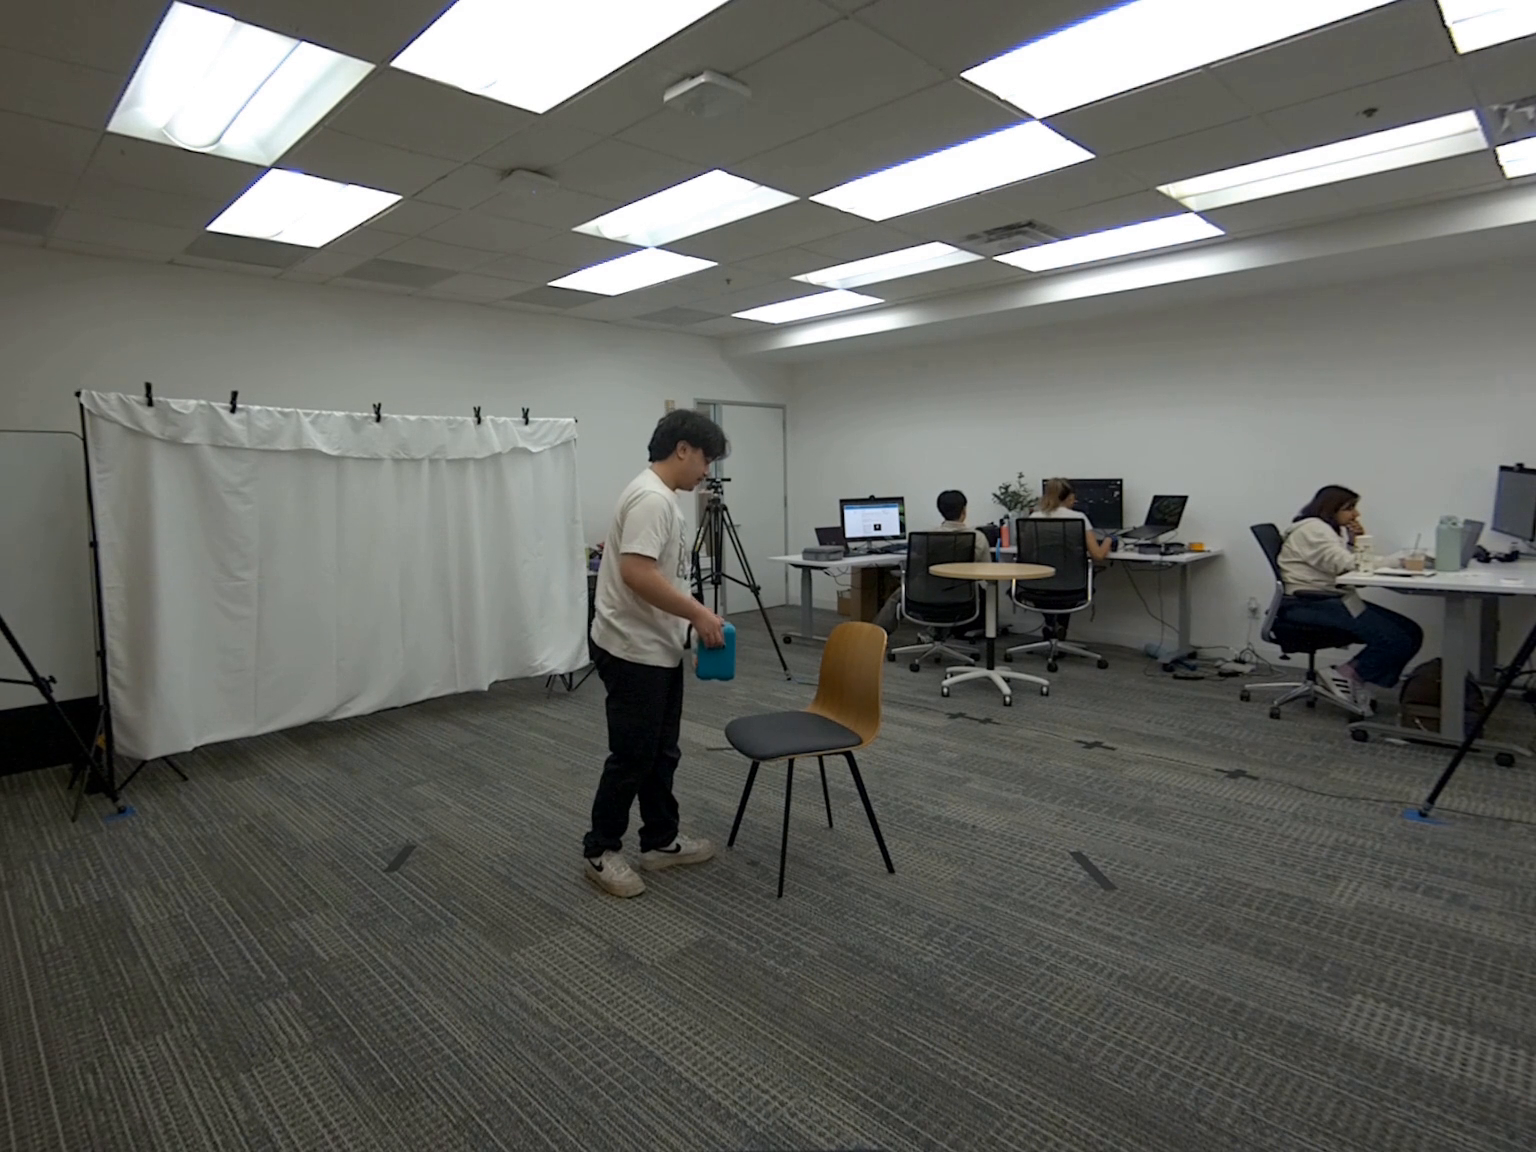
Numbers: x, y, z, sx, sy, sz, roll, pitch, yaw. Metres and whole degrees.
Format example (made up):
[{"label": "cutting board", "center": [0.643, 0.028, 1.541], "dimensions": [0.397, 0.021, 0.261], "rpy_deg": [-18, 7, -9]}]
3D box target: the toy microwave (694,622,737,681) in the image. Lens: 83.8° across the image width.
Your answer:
[{"label": "toy microwave", "center": [-0.195, 0.263, 2.993], "dimensions": [0.152, 0.184, 0.286], "rpy_deg": [2, 0, -1]}]
